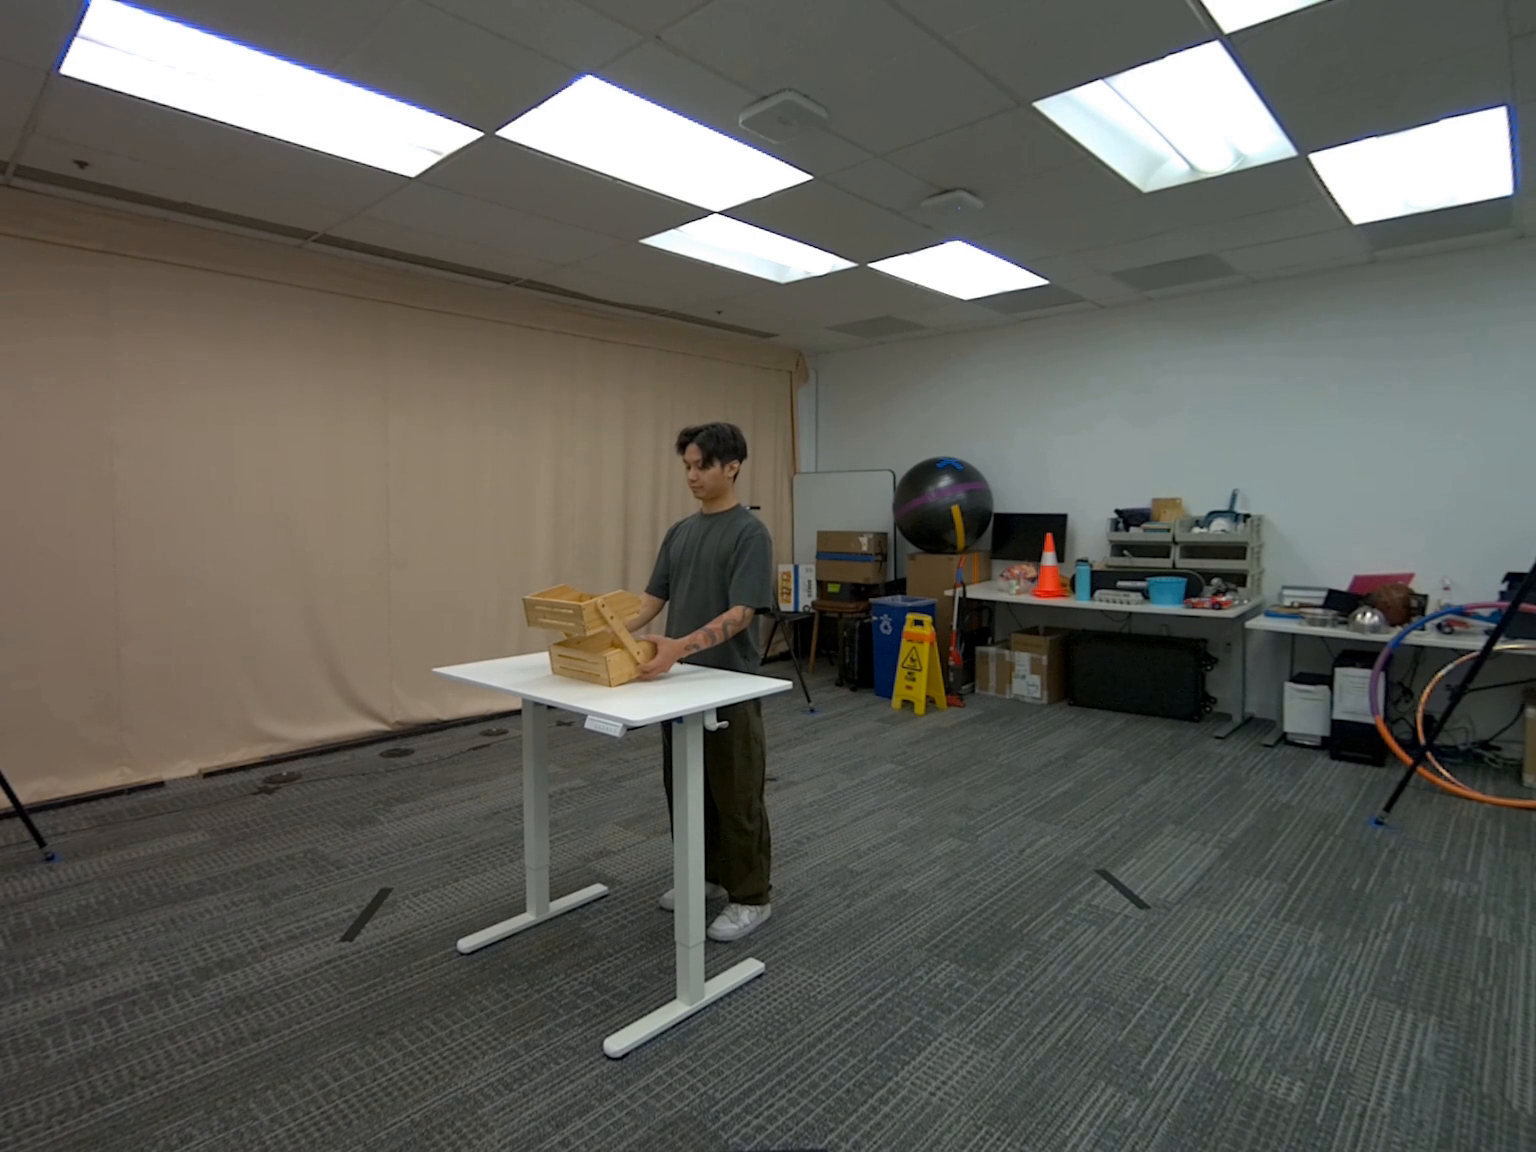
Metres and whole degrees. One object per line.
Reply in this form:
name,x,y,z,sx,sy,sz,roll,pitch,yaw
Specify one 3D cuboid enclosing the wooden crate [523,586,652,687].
wooden crate,-0.510,0.156,2.517,0.335,0.271,0.294,3,15,45
